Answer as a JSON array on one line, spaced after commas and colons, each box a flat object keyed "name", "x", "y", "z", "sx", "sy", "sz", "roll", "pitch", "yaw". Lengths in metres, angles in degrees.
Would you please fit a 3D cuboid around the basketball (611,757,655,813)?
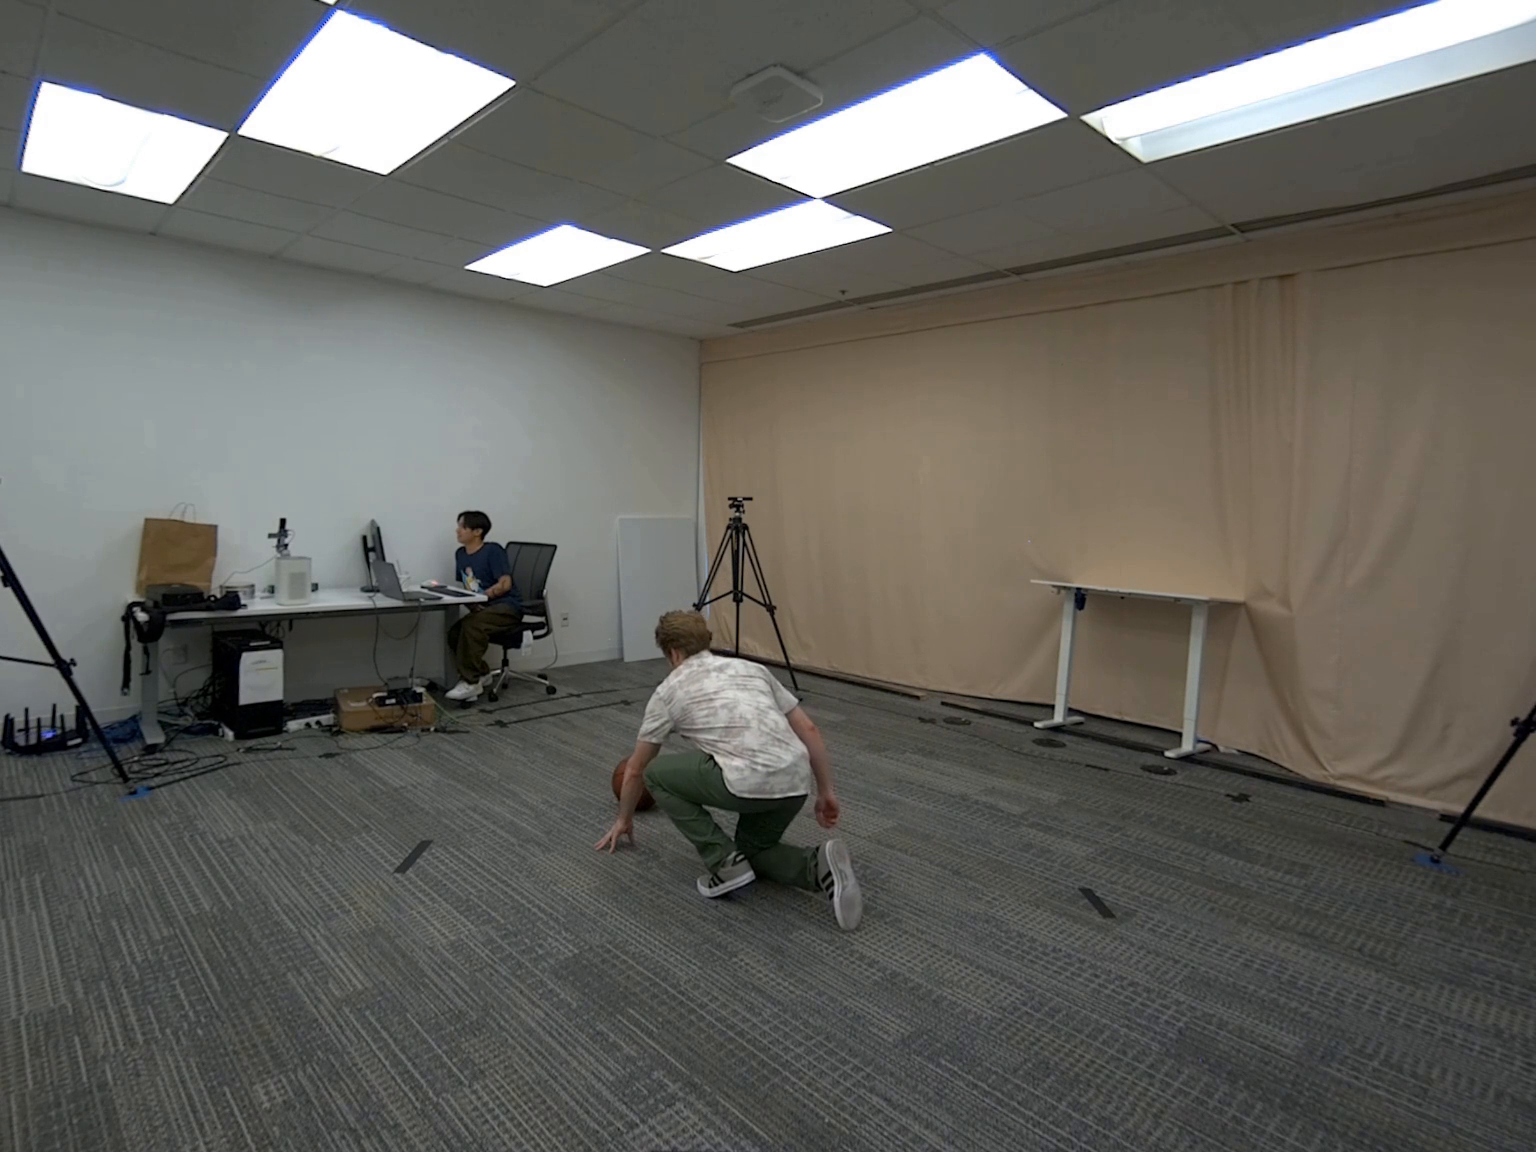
[{"name": "basketball", "x": -0.586, "y": 0.918, "z": 3.766, "sx": 0.236, "sy": 0.235, "sz": 0.237, "roll": 1, "pitch": 4, "yaw": -1}]
